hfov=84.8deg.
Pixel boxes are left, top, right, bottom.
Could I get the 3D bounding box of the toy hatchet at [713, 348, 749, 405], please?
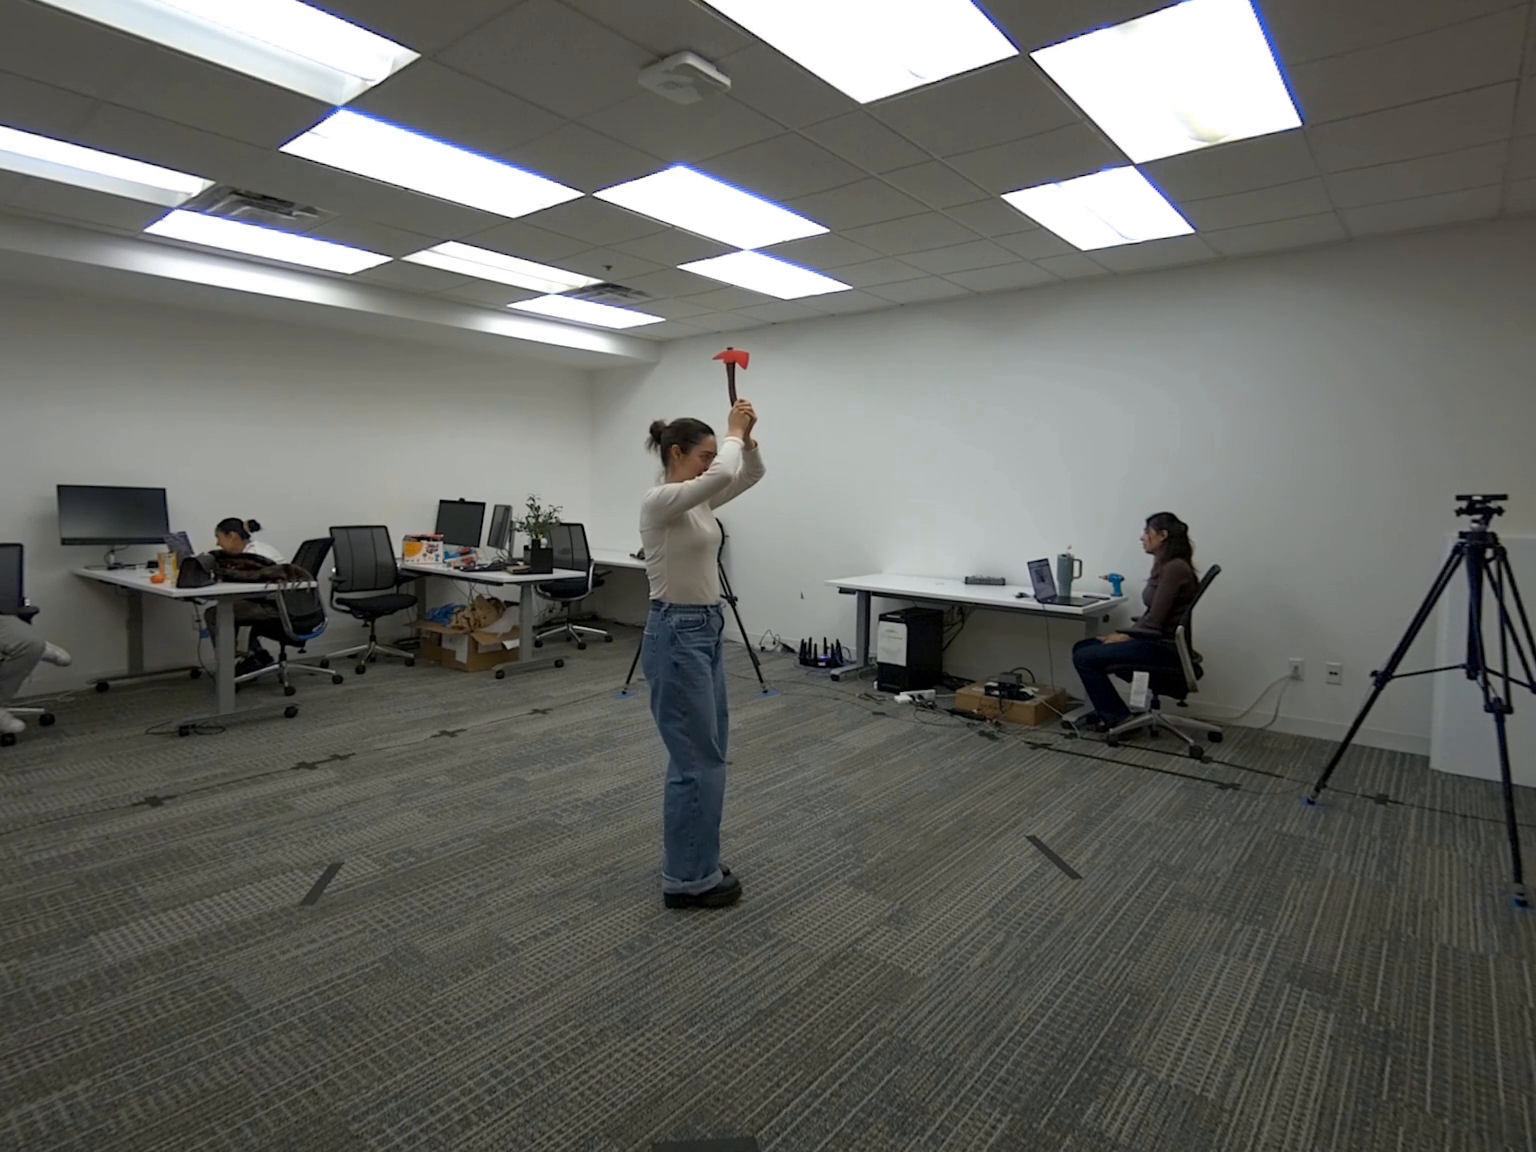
[{"bbox_3d":[-0.099,-0.652,2.871,0.133,0.271,0.029,-21,-4,20],"label":"toy hatchet"}]
